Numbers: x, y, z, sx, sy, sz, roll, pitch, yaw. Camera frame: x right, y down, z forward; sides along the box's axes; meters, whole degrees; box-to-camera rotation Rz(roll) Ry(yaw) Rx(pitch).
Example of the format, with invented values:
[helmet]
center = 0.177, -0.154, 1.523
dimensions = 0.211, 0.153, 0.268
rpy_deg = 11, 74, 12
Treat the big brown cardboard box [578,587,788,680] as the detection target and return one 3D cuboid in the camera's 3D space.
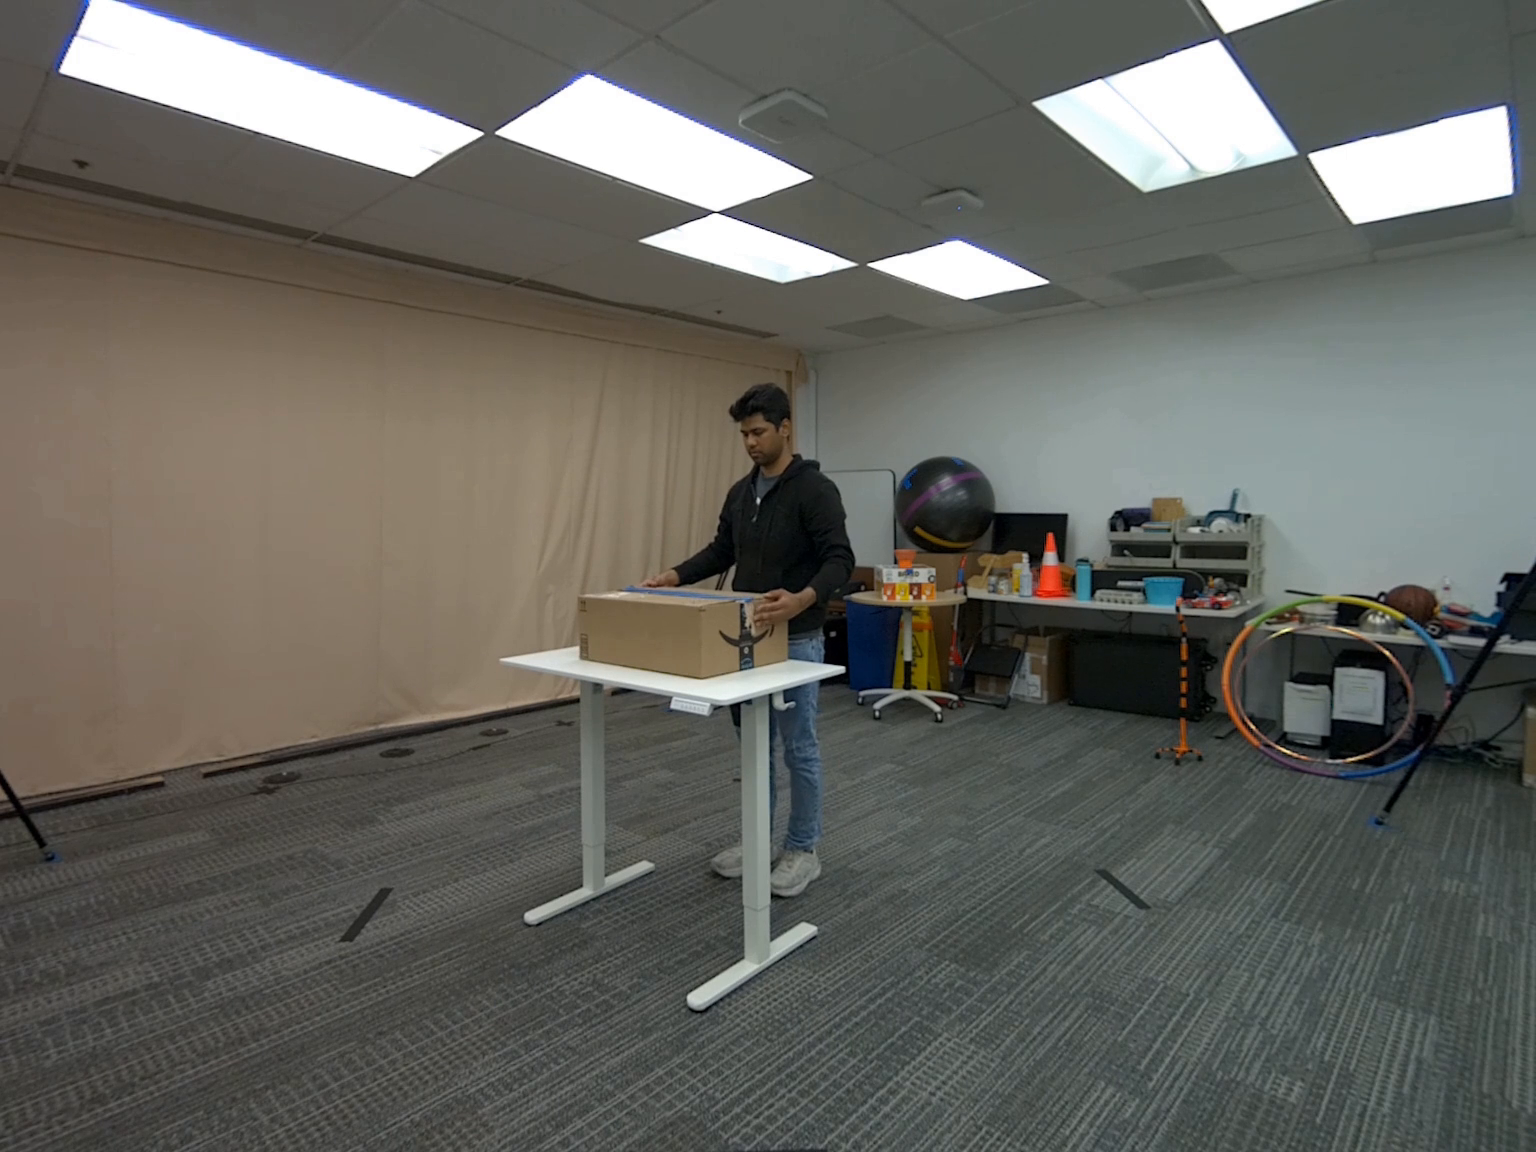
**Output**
[big brown cardboard box]
center = -0.284, 0.167, 2.801
dimensions = 0.608, 0.232, 0.405
rpy_deg = 5, 6, 40
